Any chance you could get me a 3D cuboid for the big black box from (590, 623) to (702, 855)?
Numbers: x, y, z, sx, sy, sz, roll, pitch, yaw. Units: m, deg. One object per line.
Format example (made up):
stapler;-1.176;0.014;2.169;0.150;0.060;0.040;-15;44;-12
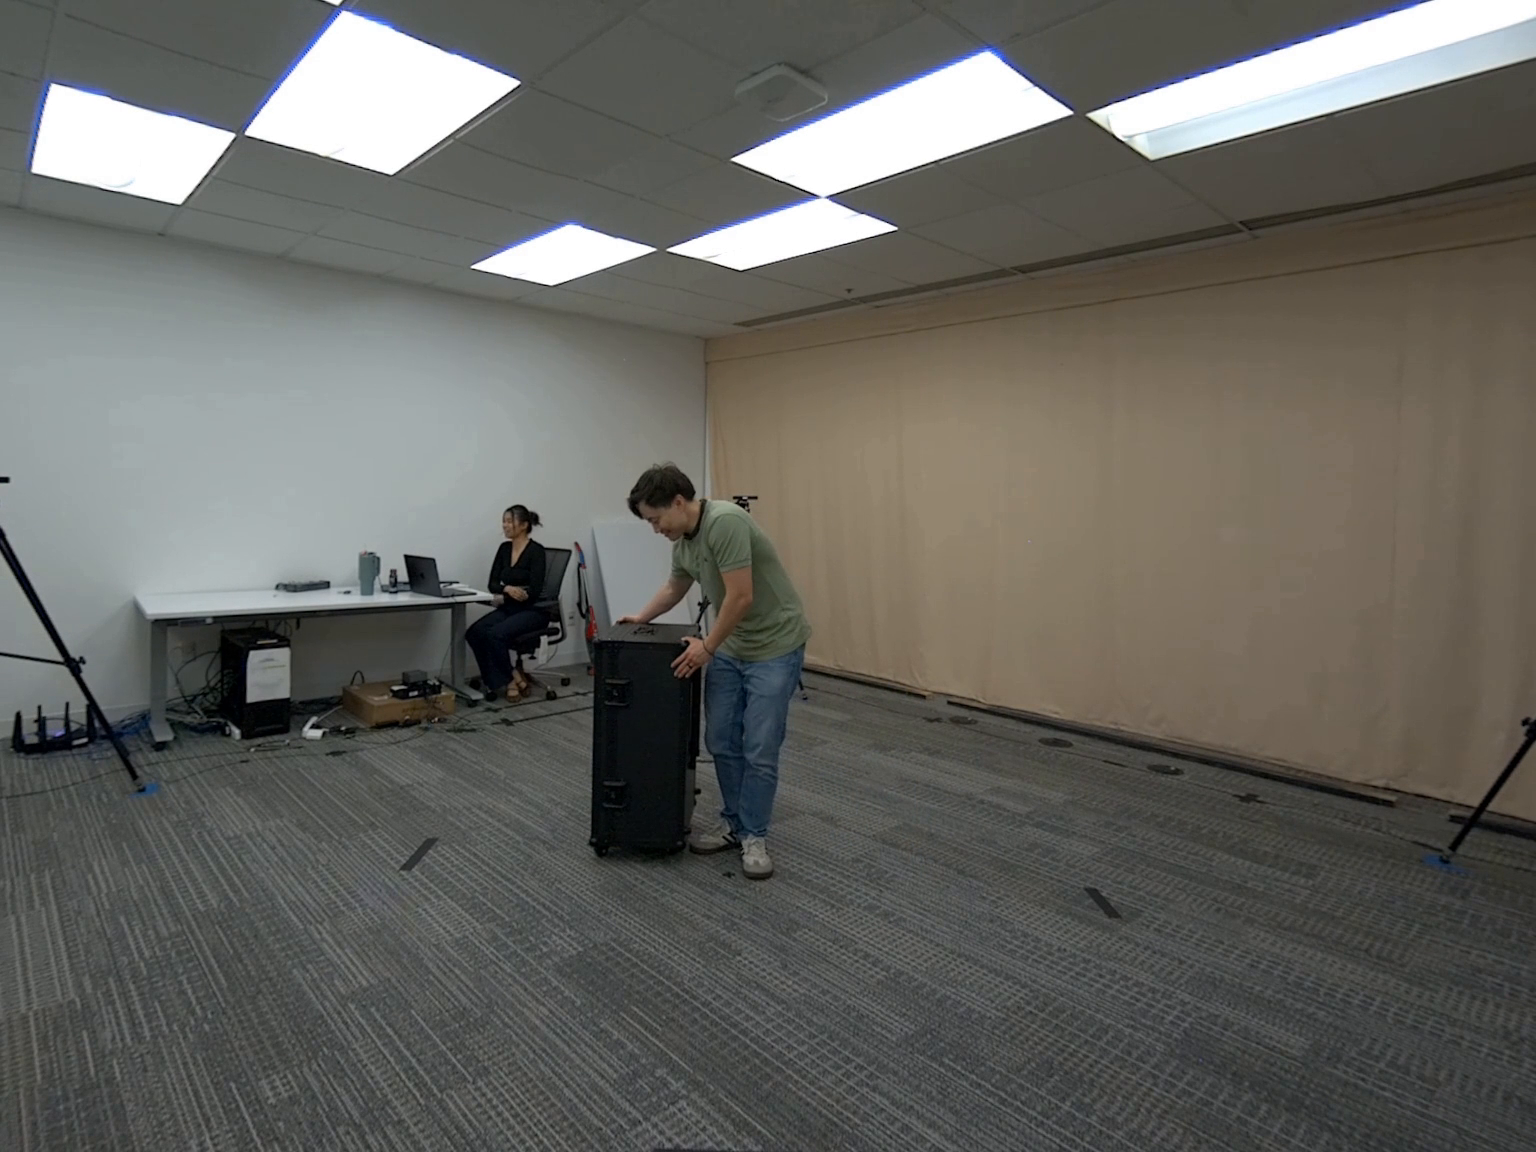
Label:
big black box;-0.477;0.646;3.376;0.397;0.860;0.521;2;3;2
